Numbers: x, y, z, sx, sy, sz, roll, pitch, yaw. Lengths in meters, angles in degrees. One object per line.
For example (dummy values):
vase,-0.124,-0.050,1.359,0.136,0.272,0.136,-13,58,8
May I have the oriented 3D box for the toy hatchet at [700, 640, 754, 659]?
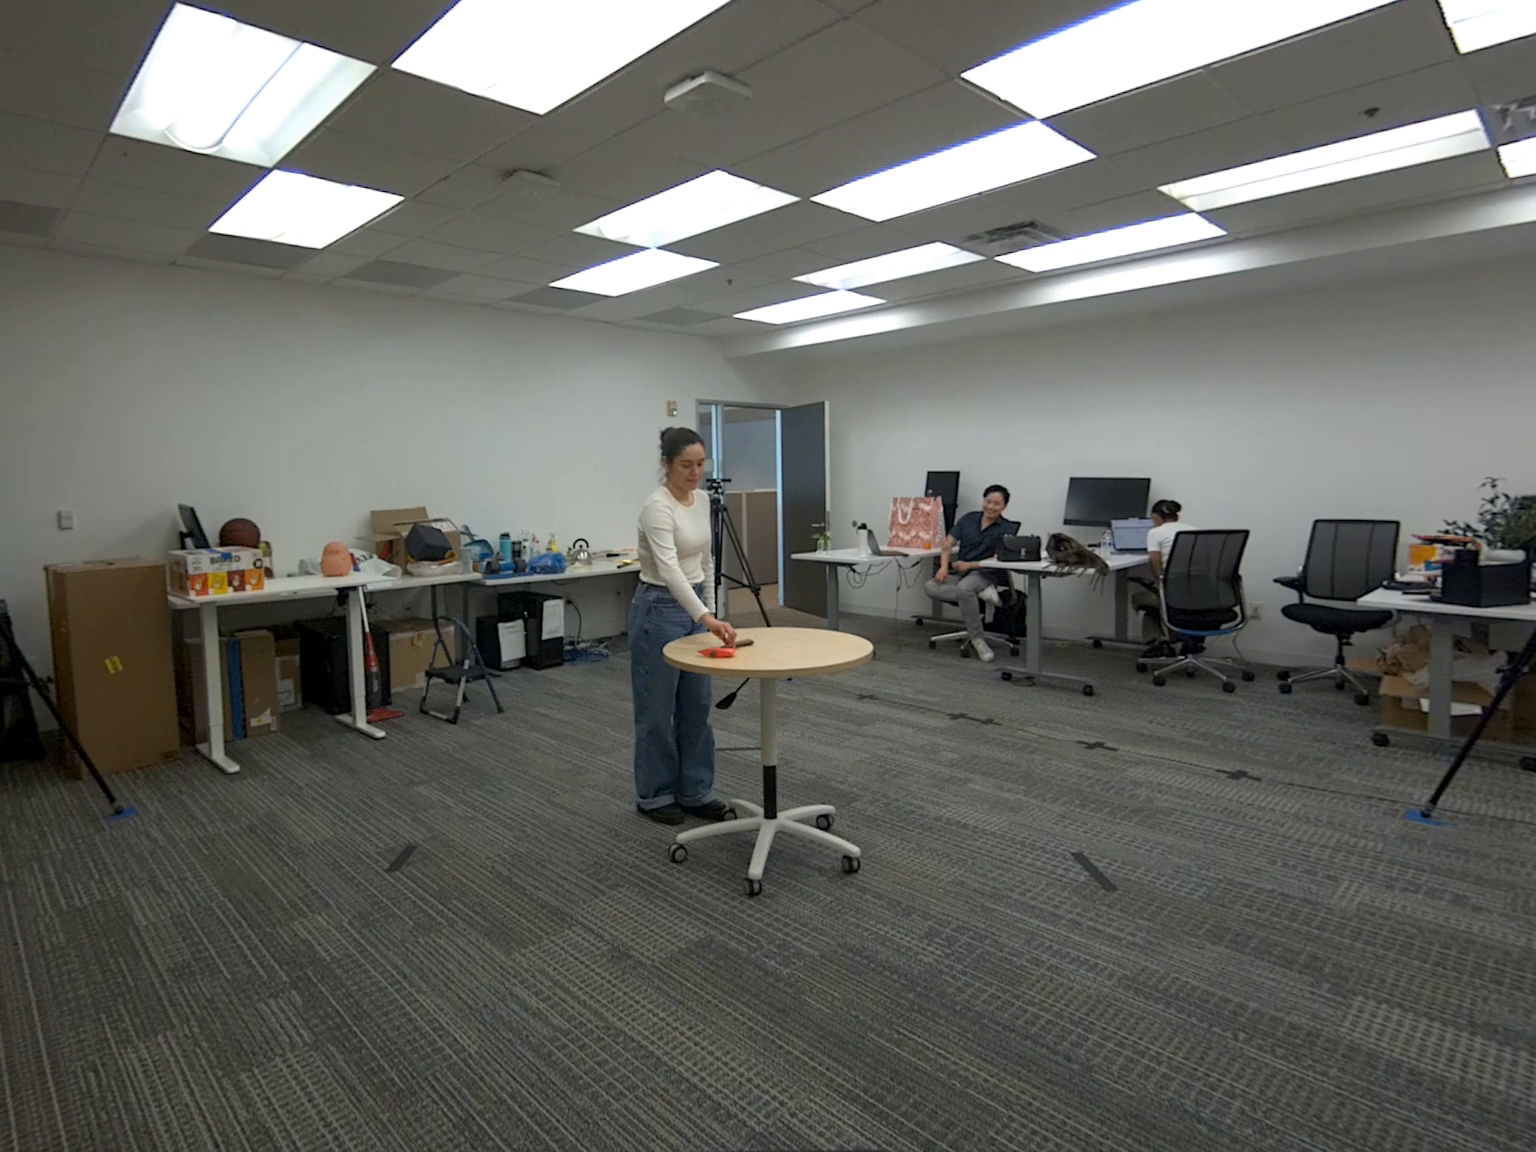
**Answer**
toy hatchet,-0.121,0.257,3.050,0.135,0.029,0.263,0,4,42
